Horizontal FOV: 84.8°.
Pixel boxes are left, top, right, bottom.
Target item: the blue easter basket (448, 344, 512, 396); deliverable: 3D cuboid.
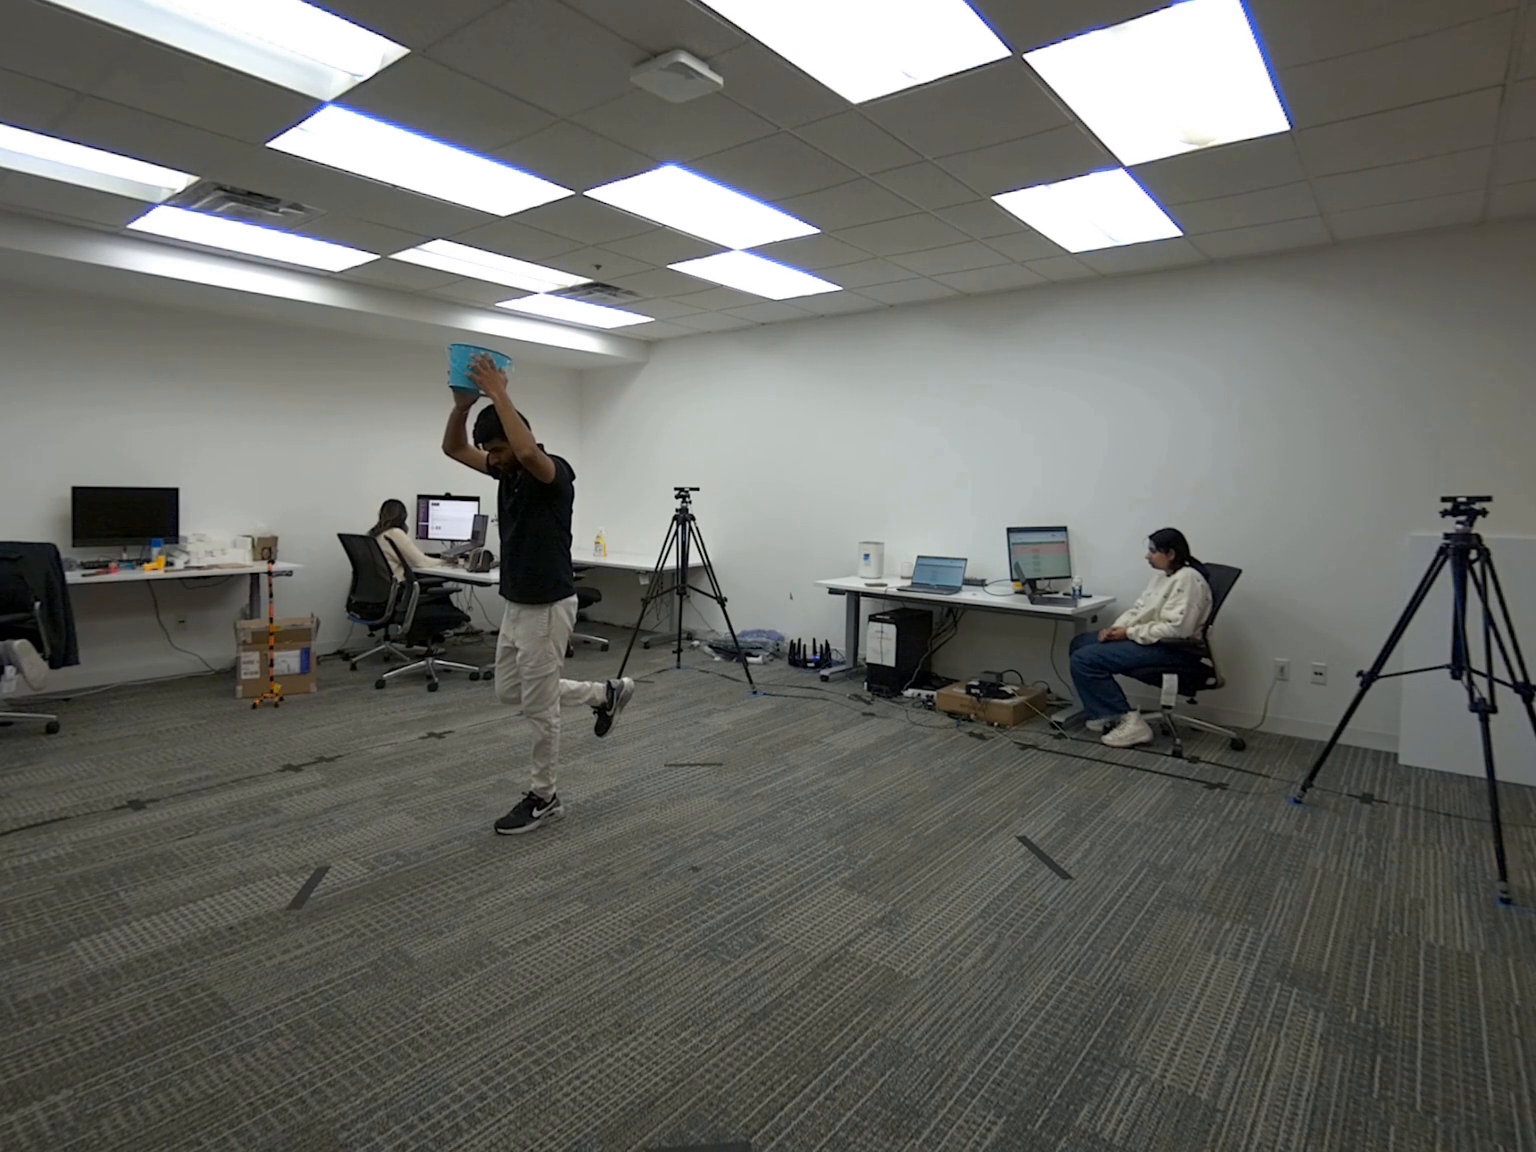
[{"bbox_3d":[-1.111,-0.770,3.182,0.243,0.156,0.244,12,0,-2],"label":"blue easter basket"}]
